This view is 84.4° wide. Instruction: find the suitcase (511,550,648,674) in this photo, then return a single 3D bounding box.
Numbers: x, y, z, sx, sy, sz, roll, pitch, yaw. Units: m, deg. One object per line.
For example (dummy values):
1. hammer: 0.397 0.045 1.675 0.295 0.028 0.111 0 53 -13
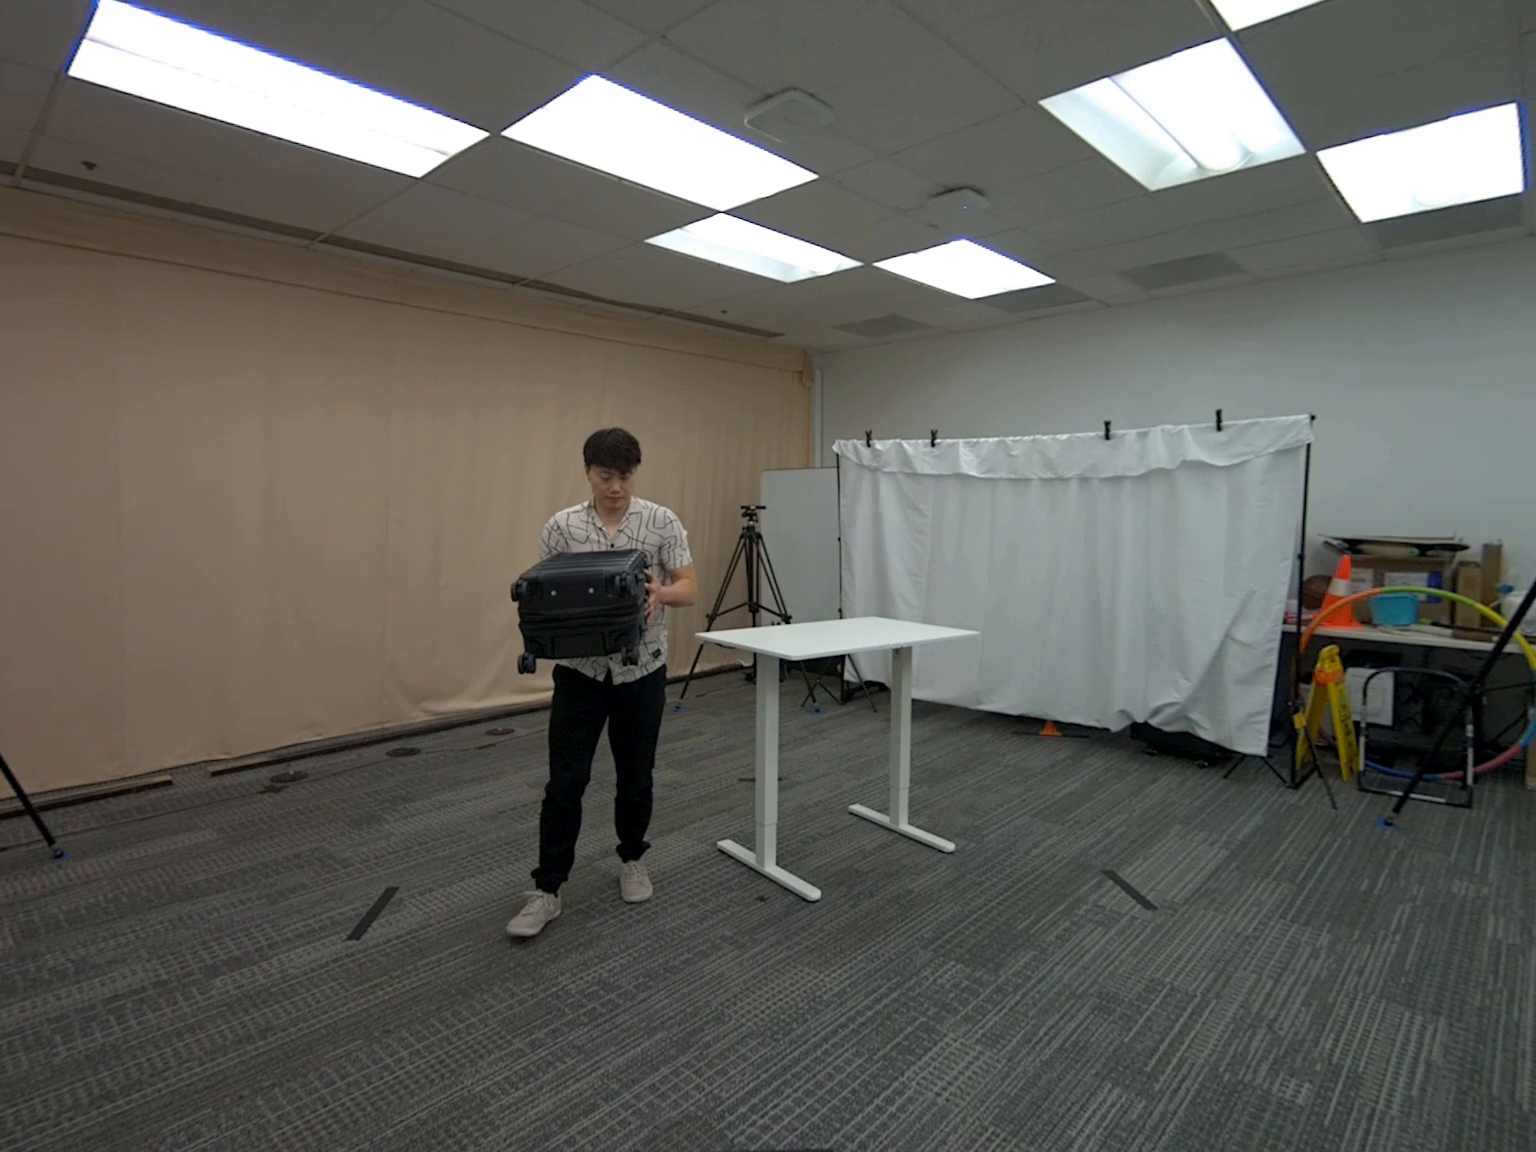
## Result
1. suitcase: -0.559 0.077 2.576 0.375 0.247 0.553 -2 9 -1
